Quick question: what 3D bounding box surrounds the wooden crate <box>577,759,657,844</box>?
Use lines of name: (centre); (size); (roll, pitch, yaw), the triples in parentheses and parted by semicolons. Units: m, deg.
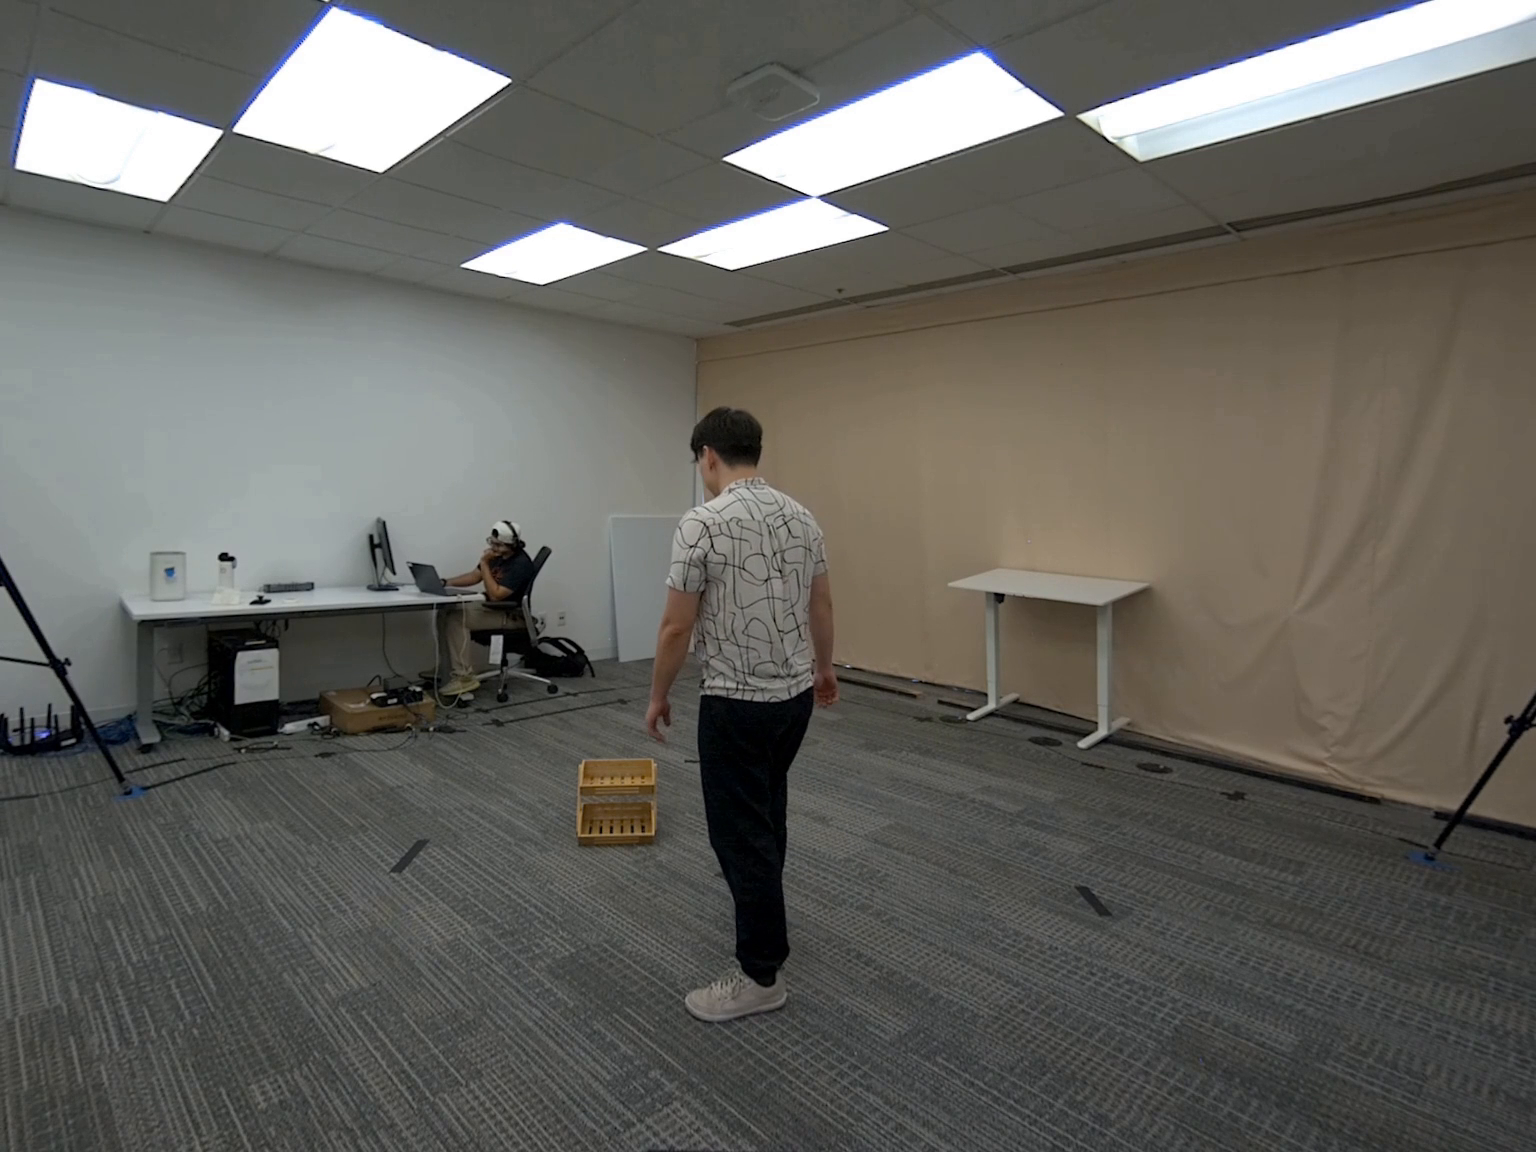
wooden crate: (-0.629, 0.923, 3.469); (0.322, 0.272, 0.305); (1, 4, -8)
